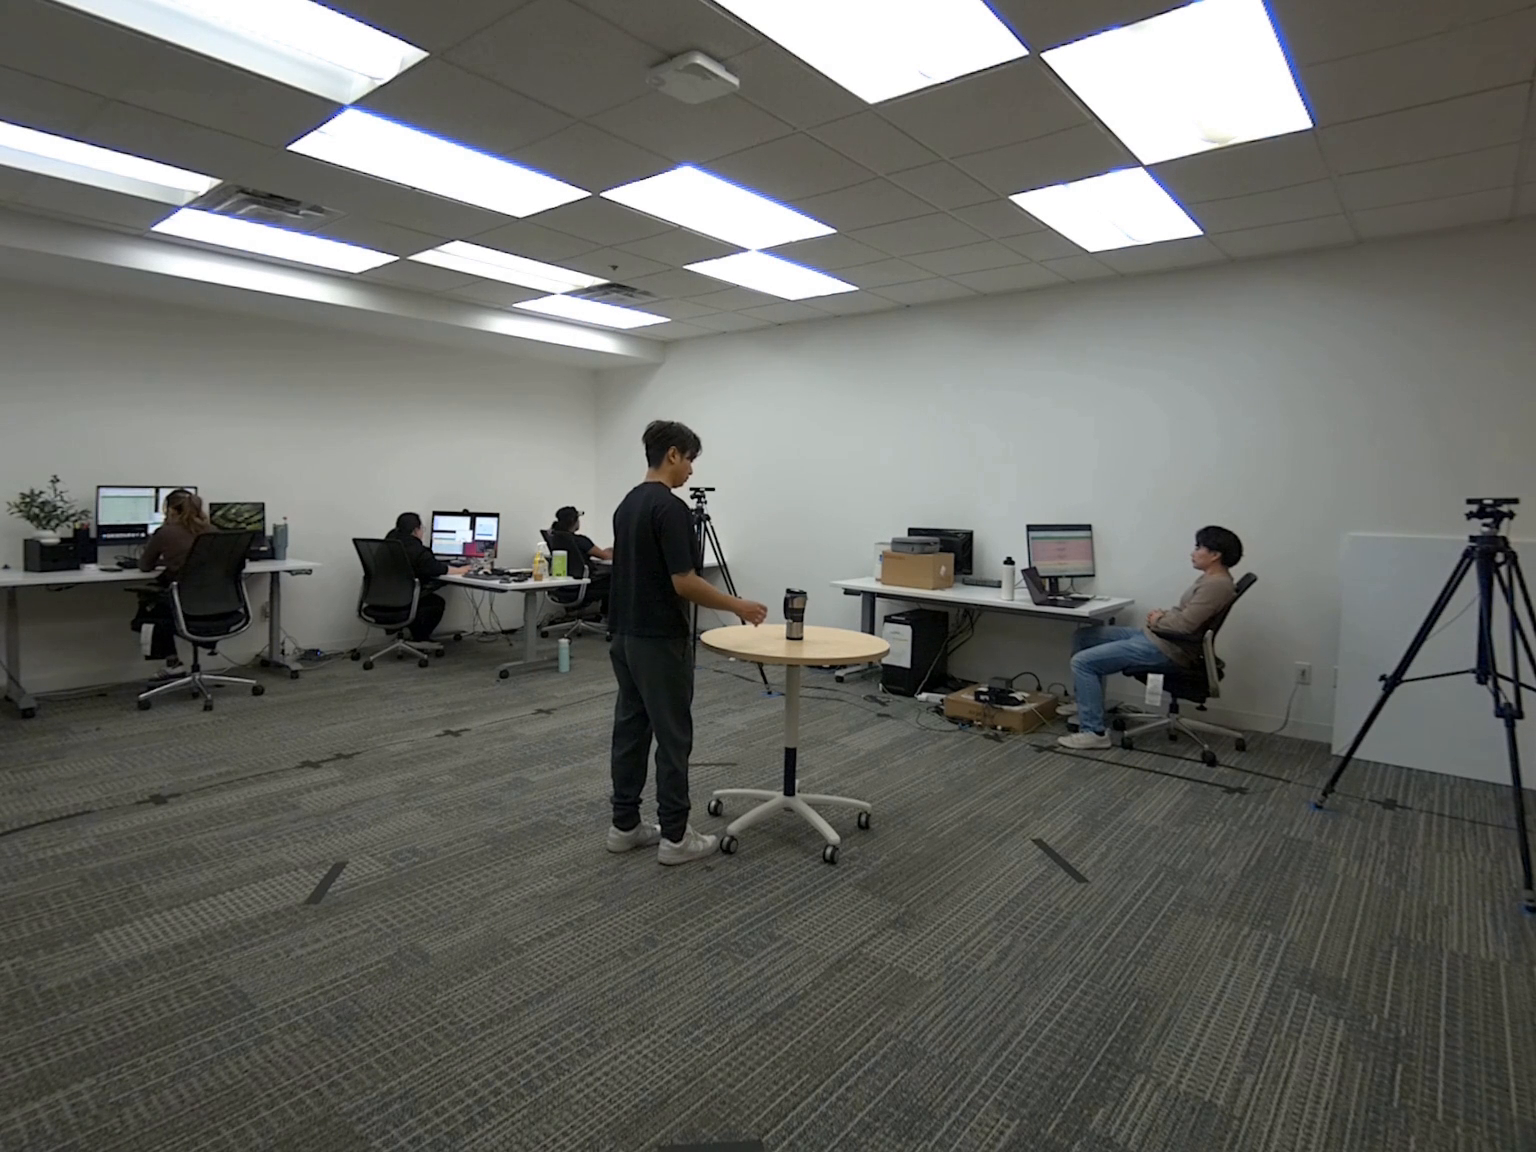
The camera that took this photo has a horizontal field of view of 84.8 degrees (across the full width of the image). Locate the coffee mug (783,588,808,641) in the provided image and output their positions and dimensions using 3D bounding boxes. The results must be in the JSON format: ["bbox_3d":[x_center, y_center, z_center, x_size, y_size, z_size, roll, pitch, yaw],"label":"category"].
[{"bbox_3d":[0.085,0.155,3.456,0.118,0.202,0.091,1,8,-36],"label":"coffee mug"}]
